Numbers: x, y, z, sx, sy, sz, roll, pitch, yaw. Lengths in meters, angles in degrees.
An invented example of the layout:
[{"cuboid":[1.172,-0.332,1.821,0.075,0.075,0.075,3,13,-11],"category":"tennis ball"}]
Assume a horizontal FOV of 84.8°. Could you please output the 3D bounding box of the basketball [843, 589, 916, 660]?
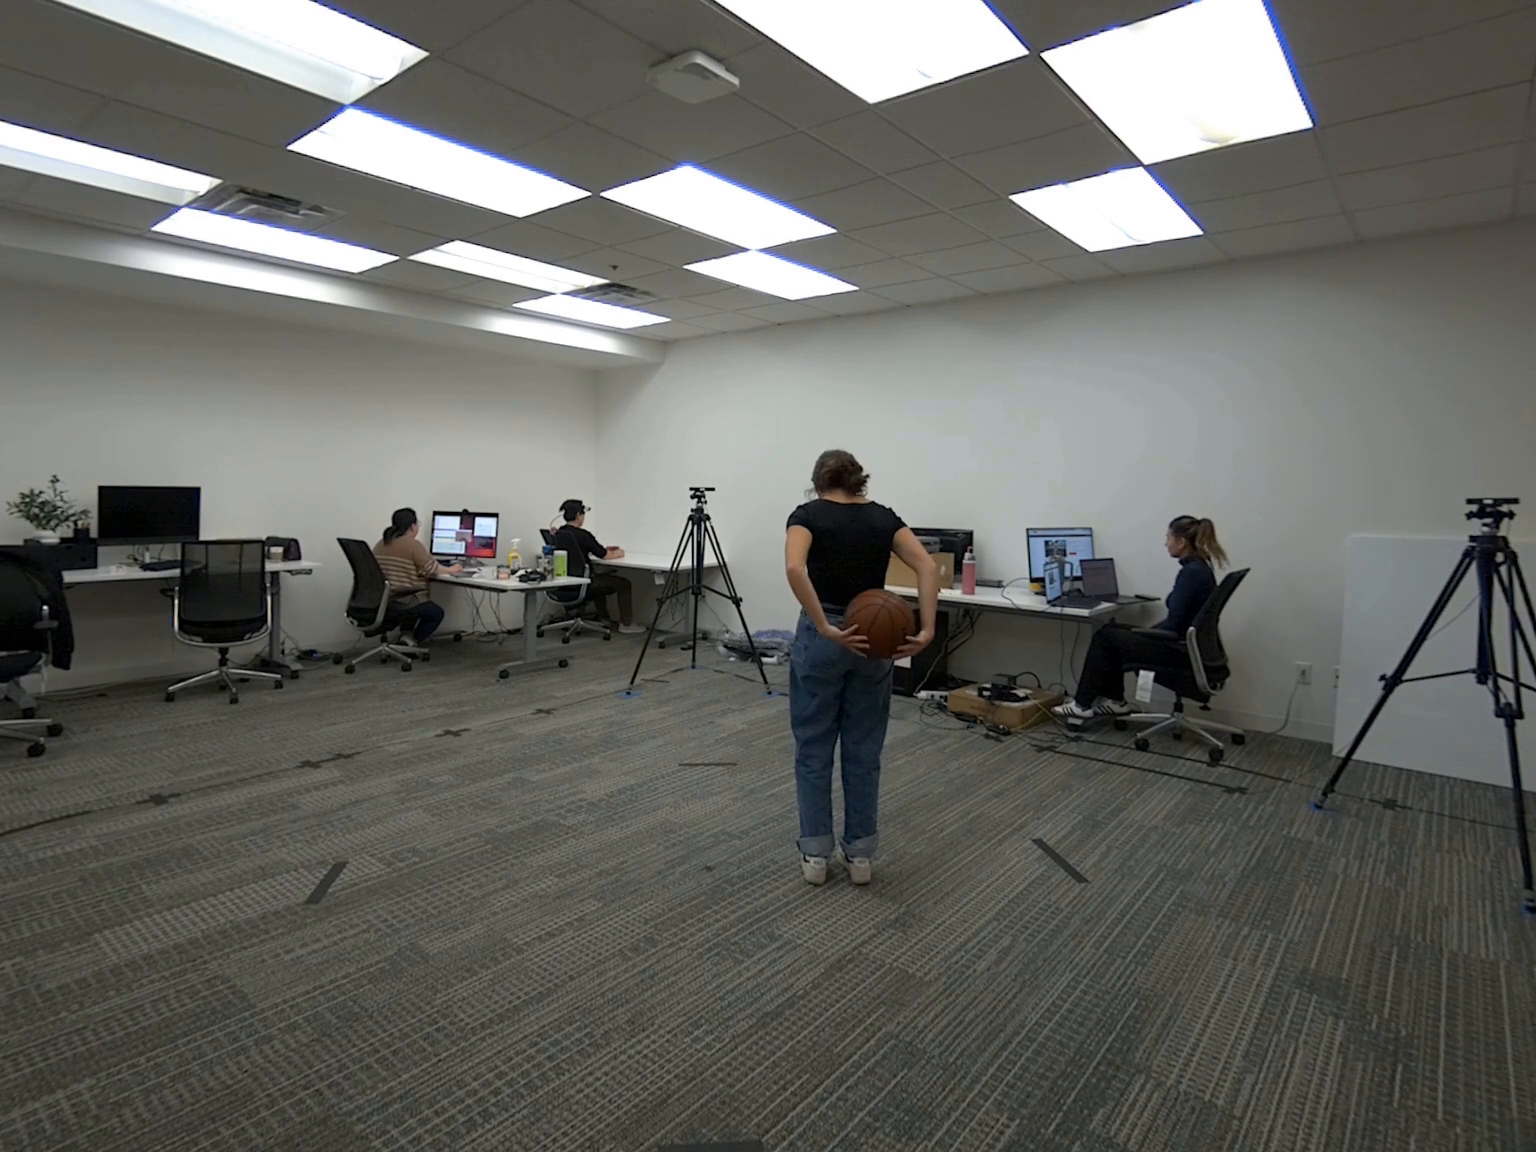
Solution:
[{"cuboid":[0.376,0.154,2.881,0.235,0.235,0.237,1,4,-2],"category":"basketball"}]
